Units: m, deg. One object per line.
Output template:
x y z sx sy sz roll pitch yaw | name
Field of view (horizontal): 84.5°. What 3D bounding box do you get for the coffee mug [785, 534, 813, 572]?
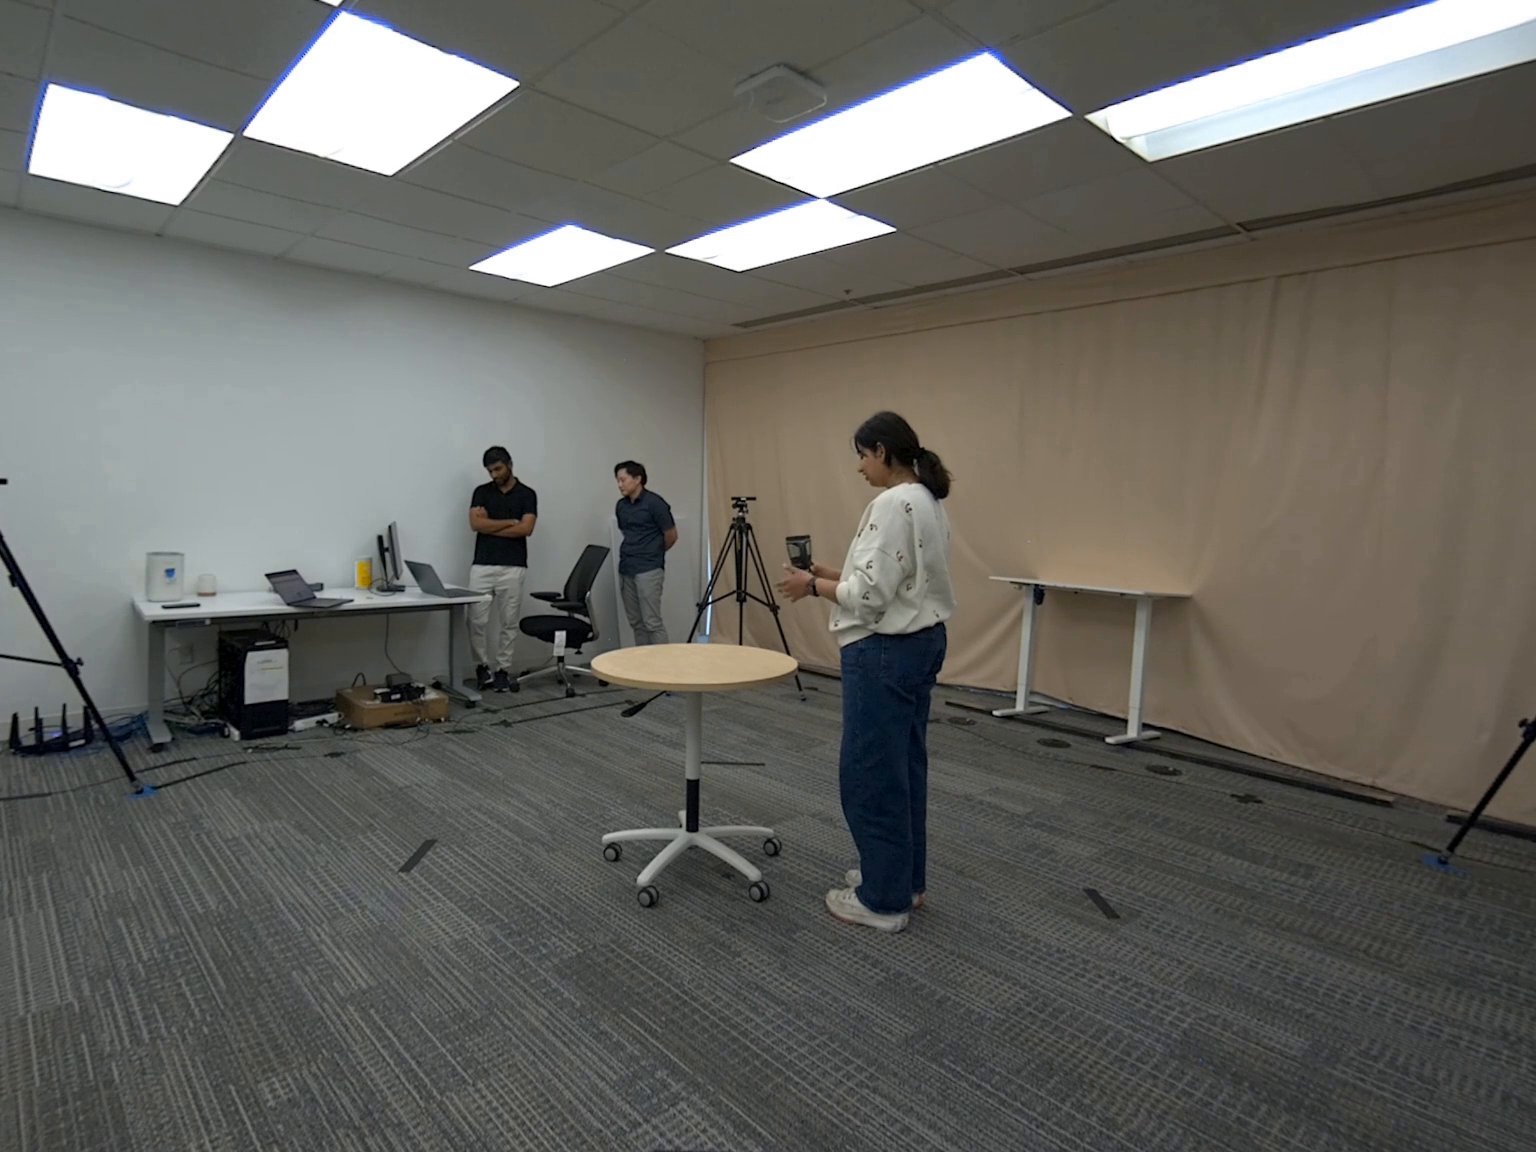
0.100 -0.036 2.926 0.120 0.202 0.090 -5 5 -29 | coffee mug
